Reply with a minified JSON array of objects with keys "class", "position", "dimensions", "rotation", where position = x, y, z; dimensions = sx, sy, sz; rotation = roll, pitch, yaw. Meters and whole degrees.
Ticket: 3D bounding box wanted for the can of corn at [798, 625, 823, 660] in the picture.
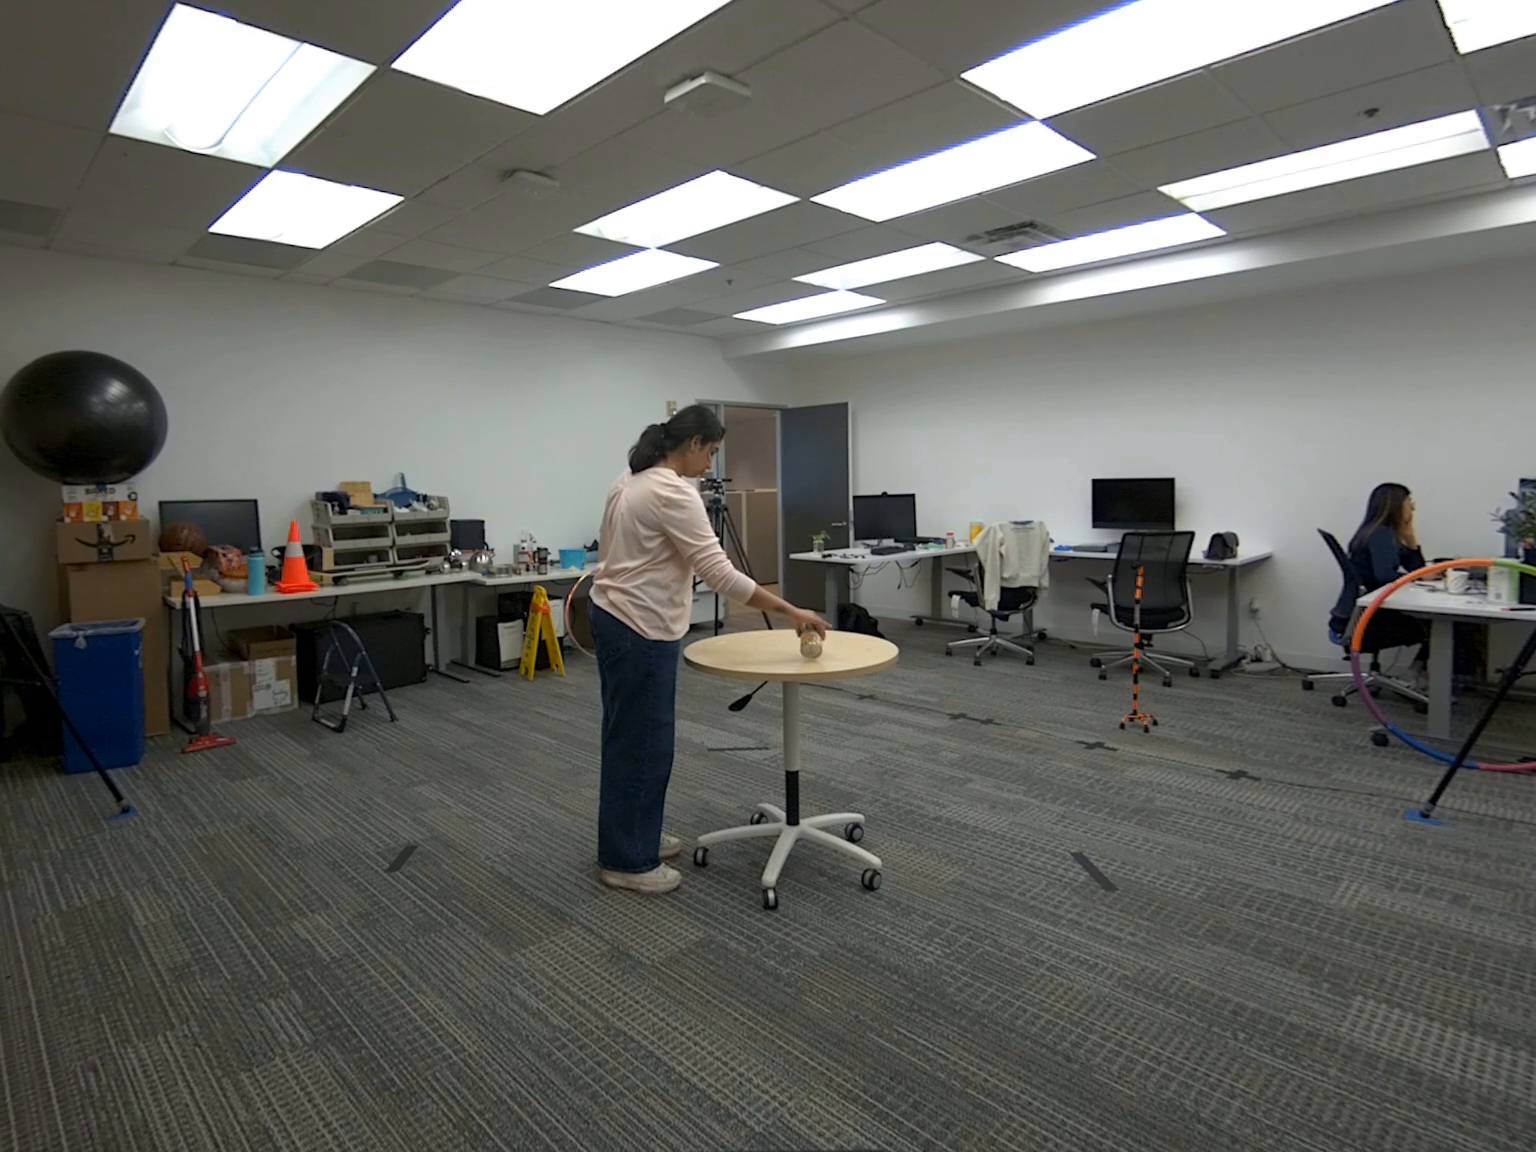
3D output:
[{"class":"can of corn","position":[0.147,0.216,2.894],"dimensions":[0.074,0.072,0.114],"rotation":[-1,37,-2]}]
